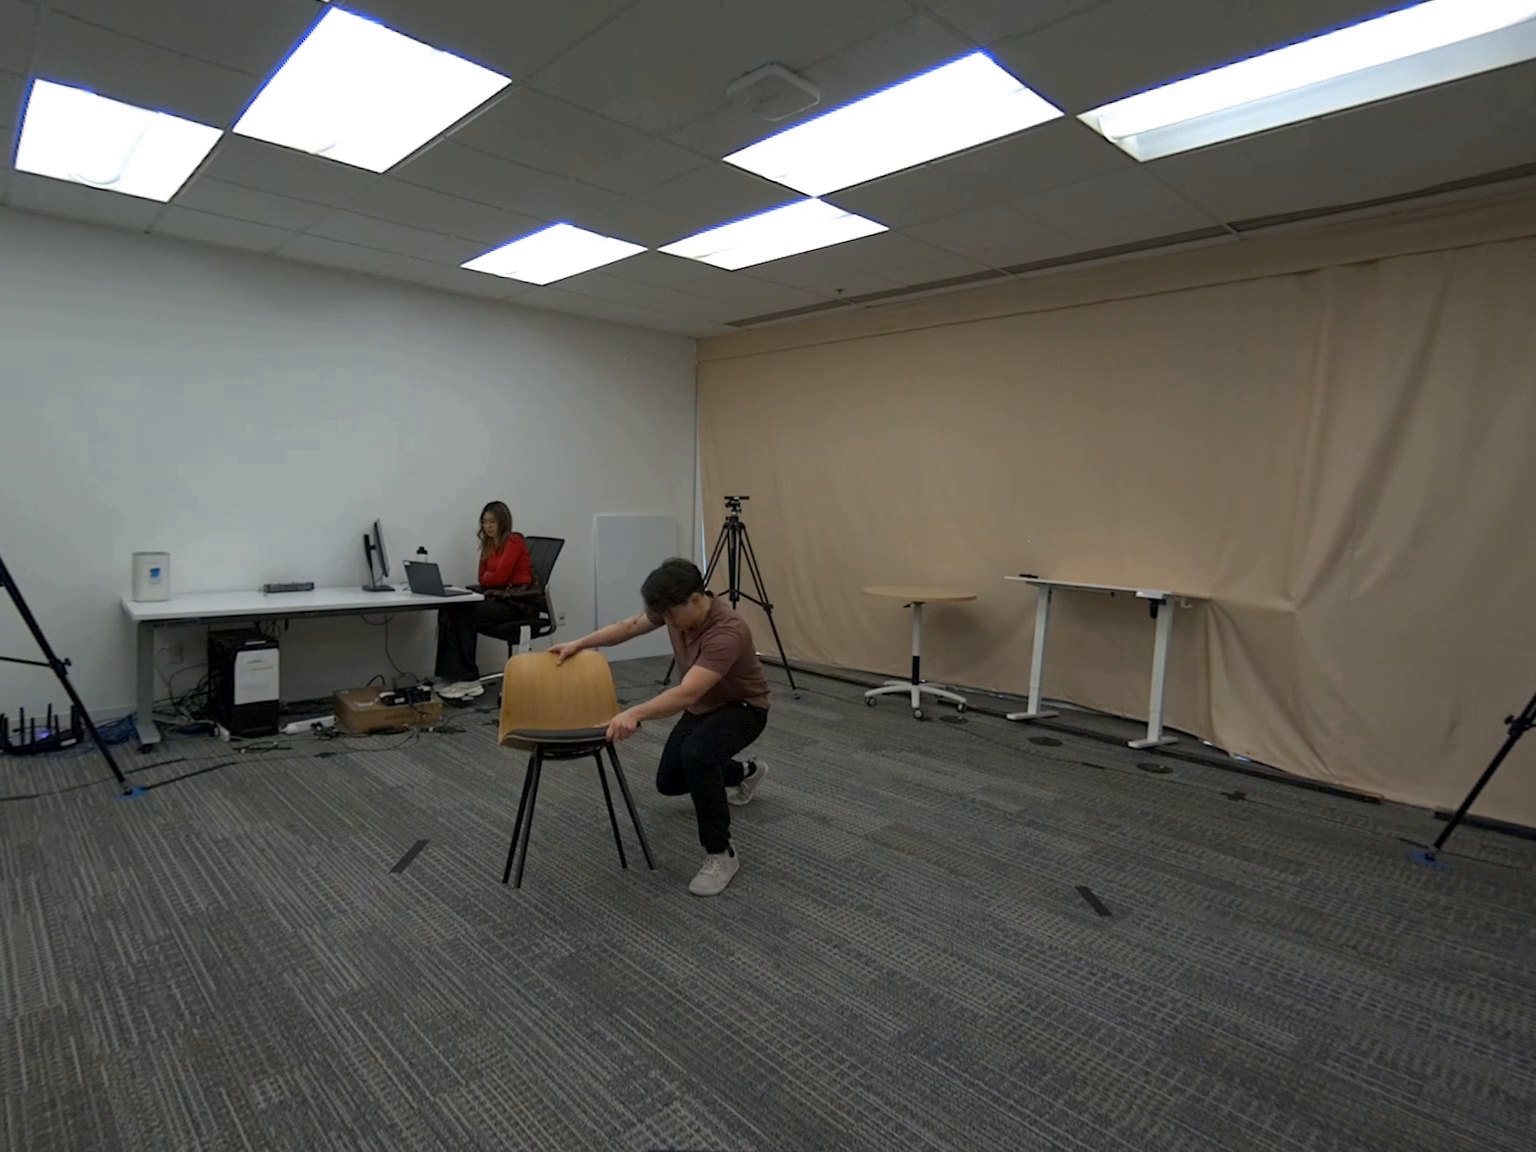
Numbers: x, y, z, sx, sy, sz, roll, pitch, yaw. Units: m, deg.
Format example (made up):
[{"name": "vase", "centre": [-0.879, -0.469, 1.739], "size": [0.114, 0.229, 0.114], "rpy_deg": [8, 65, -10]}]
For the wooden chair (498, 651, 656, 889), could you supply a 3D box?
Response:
[{"name": "wooden chair", "centre": [-0.704, 0.621, 2.980], "size": [0.471, 0.892, 0.522], "rpy_deg": [1, -23, -21]}]
